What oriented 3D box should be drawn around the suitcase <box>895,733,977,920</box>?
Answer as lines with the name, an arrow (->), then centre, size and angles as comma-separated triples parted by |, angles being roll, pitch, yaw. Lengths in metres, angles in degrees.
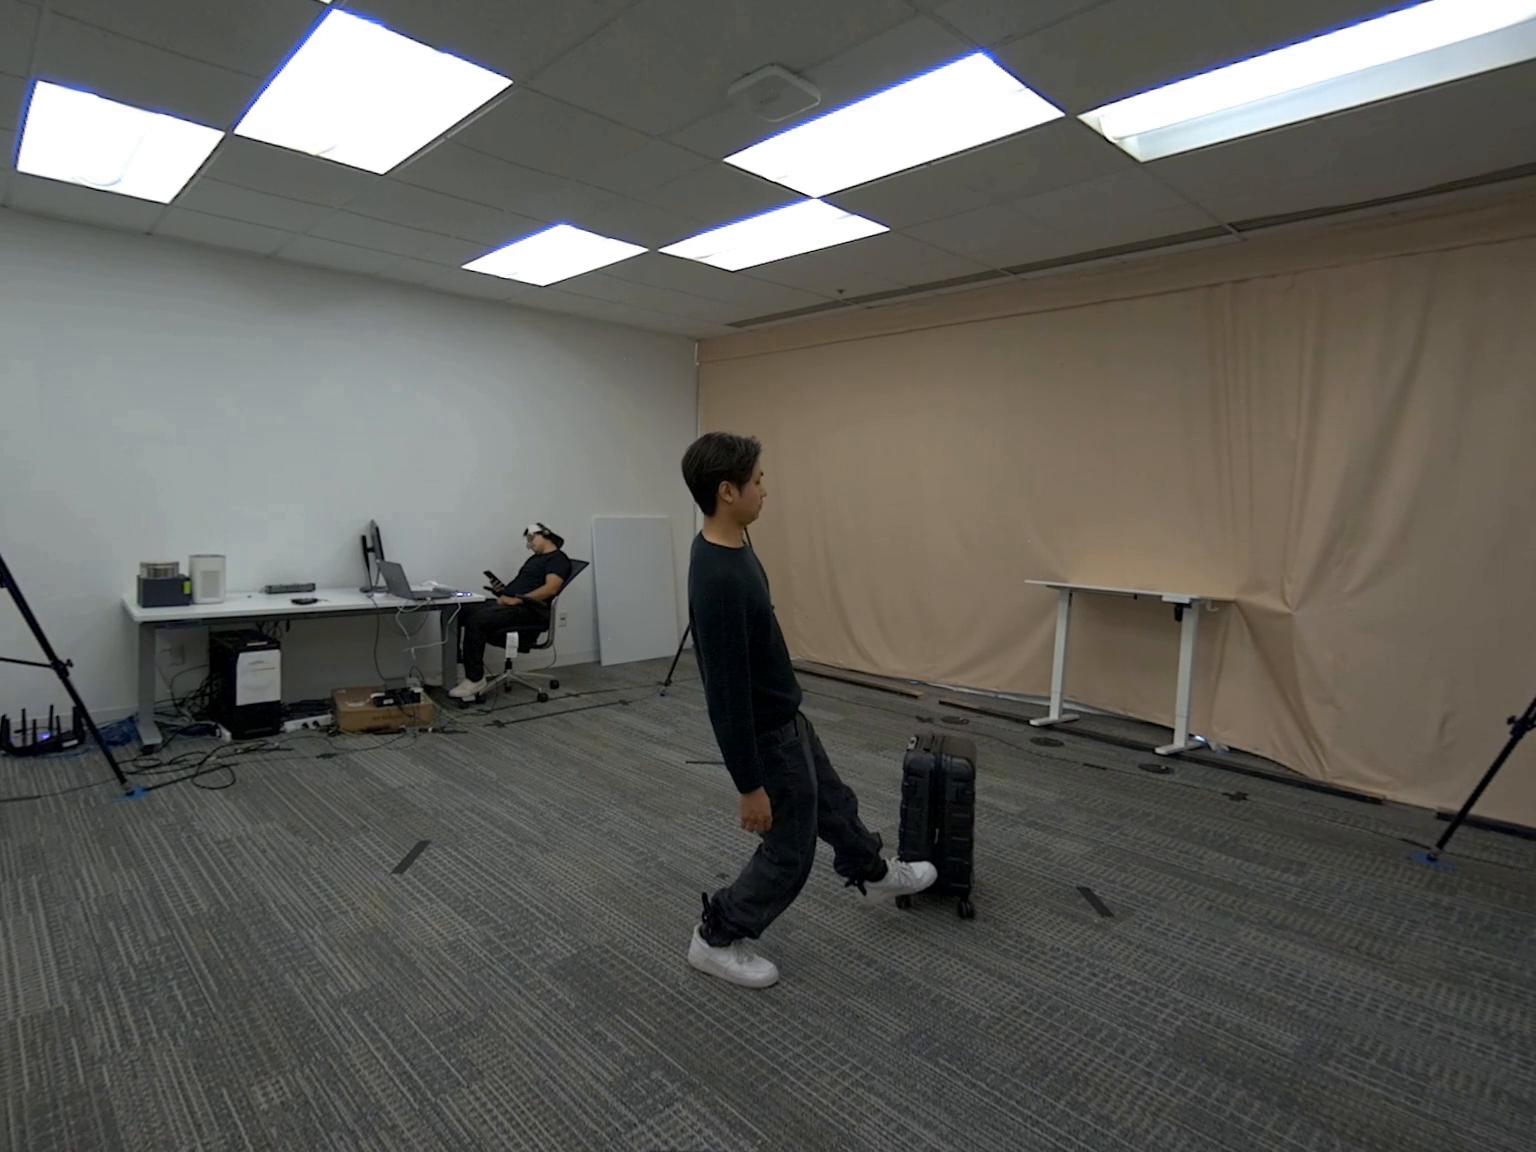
suitcase -> 0.606, 0.858, 3.006 | 0.251, 0.548, 0.371 | 2, 2, 15
